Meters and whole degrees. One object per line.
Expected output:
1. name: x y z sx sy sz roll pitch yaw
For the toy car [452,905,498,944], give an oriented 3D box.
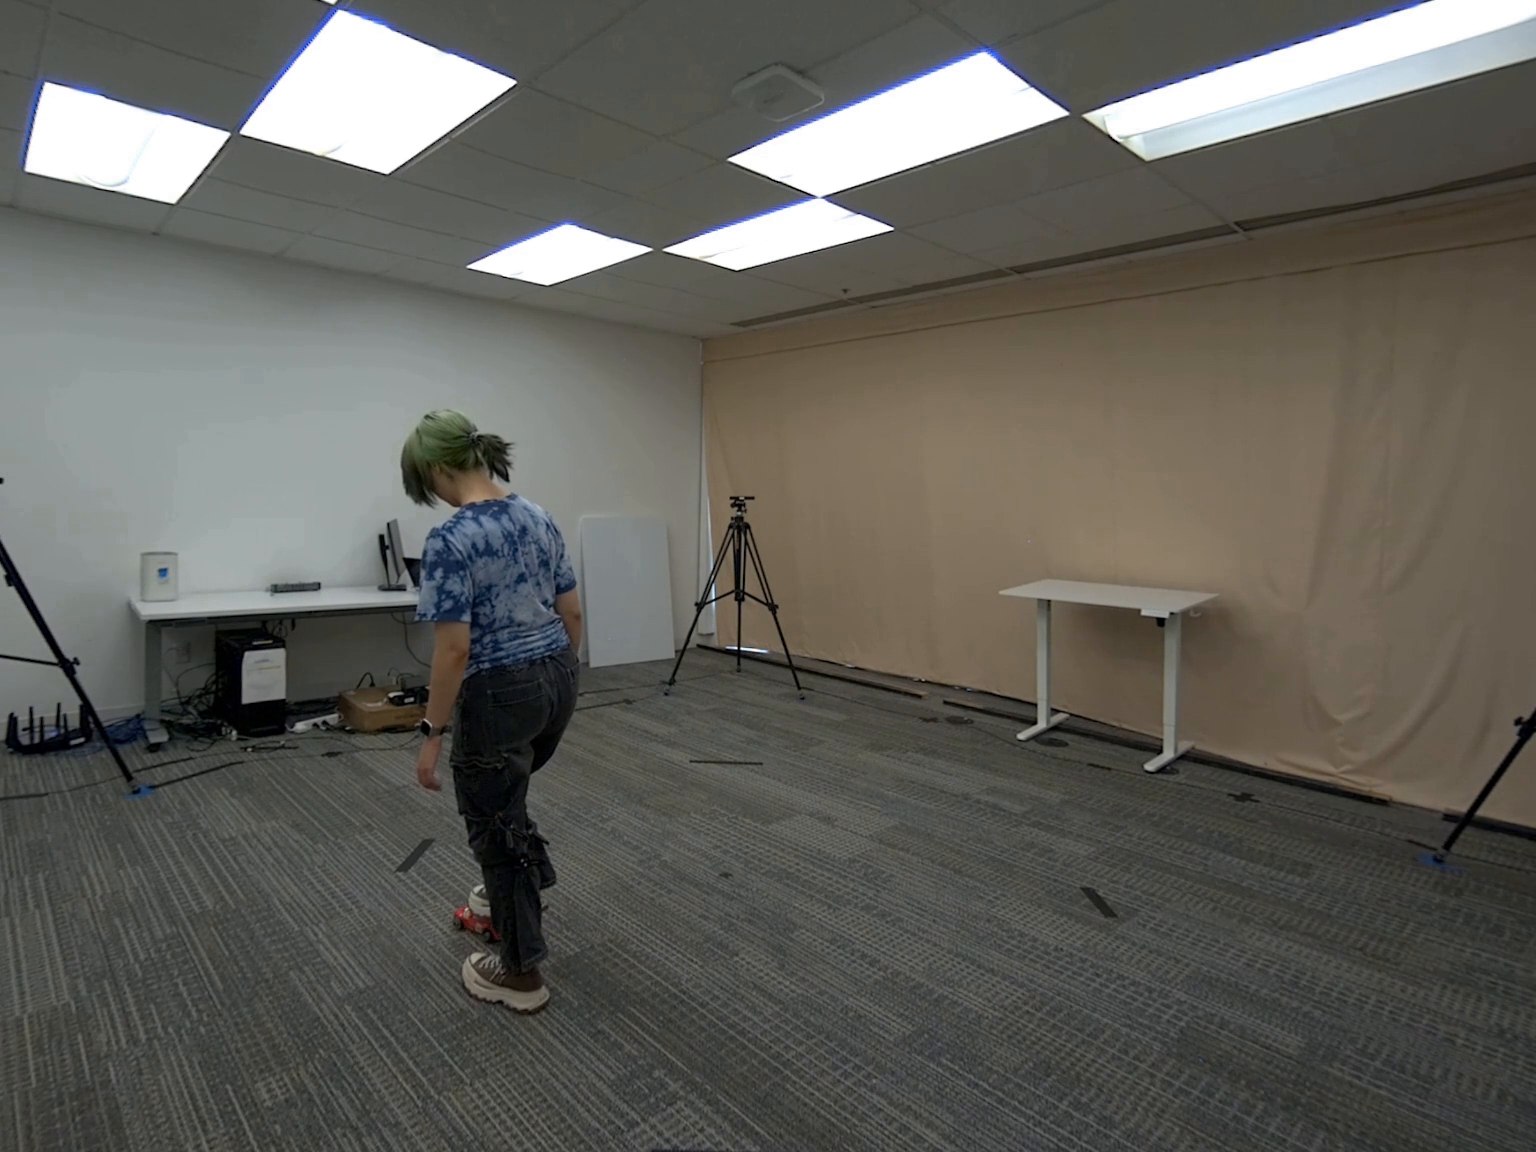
1. toy car: -0.890 1.103 2.666 0.259 0.083 0.128 -7 0 32
